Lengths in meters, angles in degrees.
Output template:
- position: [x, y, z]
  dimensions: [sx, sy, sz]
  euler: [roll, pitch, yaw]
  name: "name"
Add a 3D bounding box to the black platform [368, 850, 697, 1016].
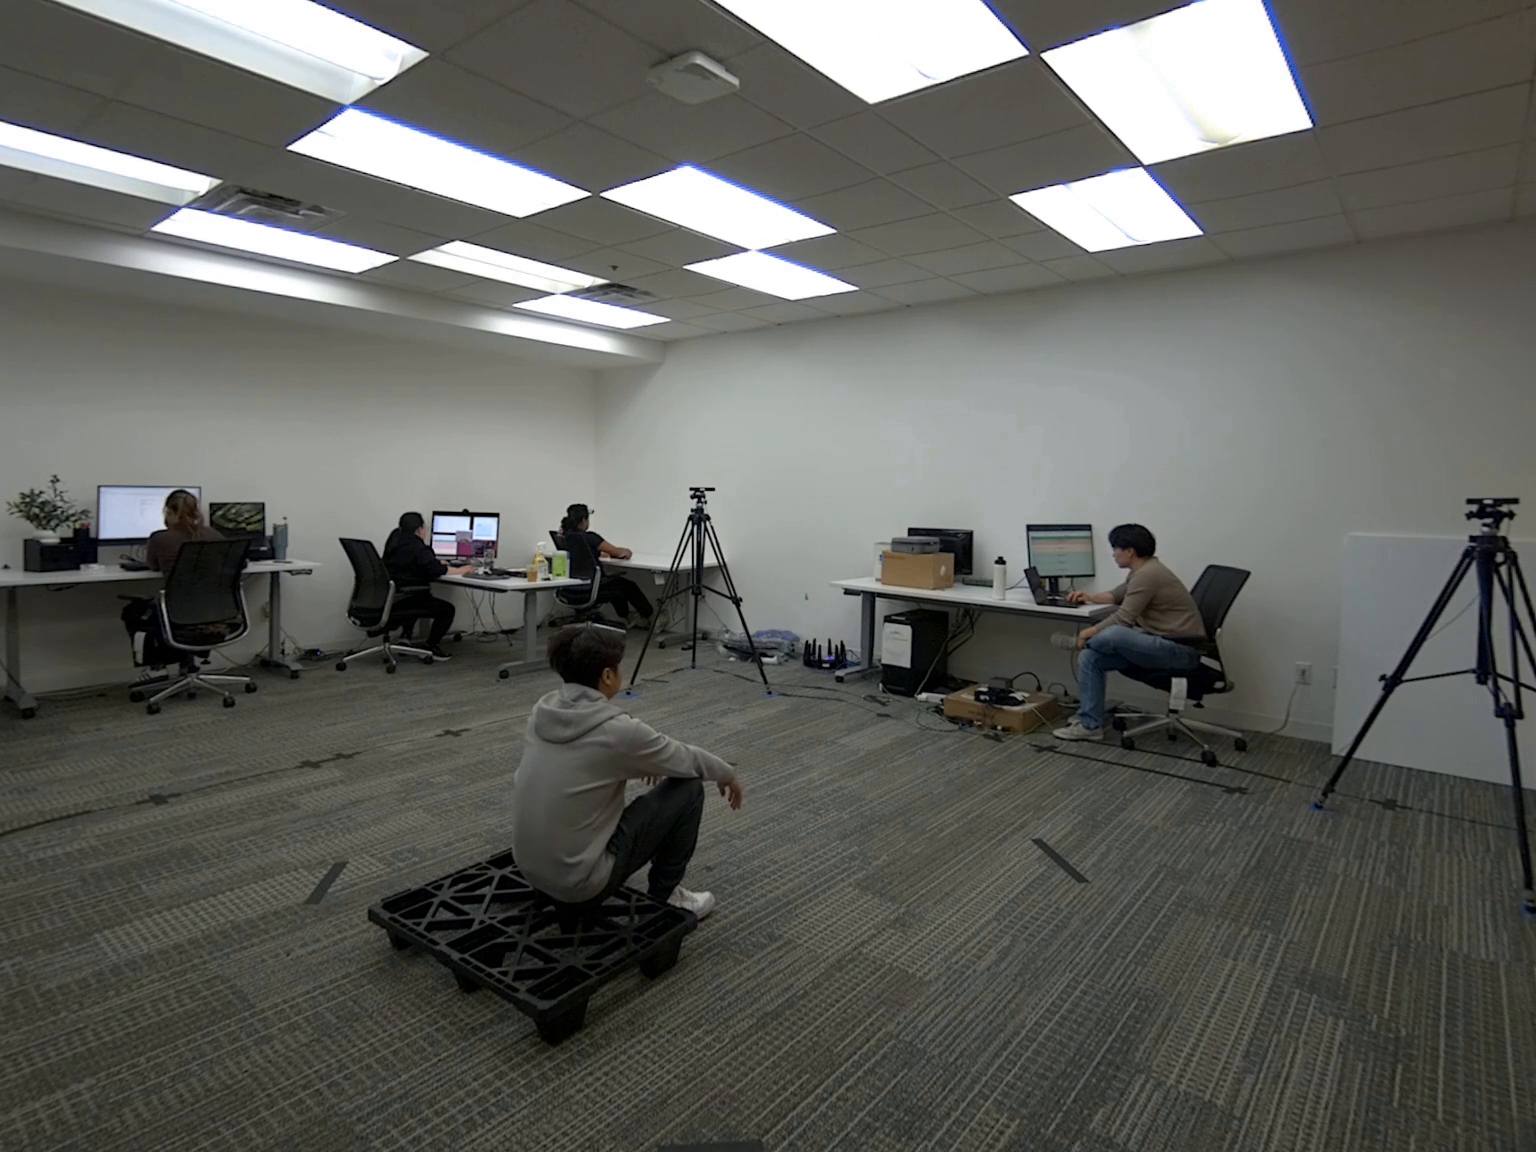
- position: [-0.702, 1.048, 2.521]
  dimensions: [0.832, 0.143, 0.588]
  euler: [5, 7, 36]
  name: "black platform"
